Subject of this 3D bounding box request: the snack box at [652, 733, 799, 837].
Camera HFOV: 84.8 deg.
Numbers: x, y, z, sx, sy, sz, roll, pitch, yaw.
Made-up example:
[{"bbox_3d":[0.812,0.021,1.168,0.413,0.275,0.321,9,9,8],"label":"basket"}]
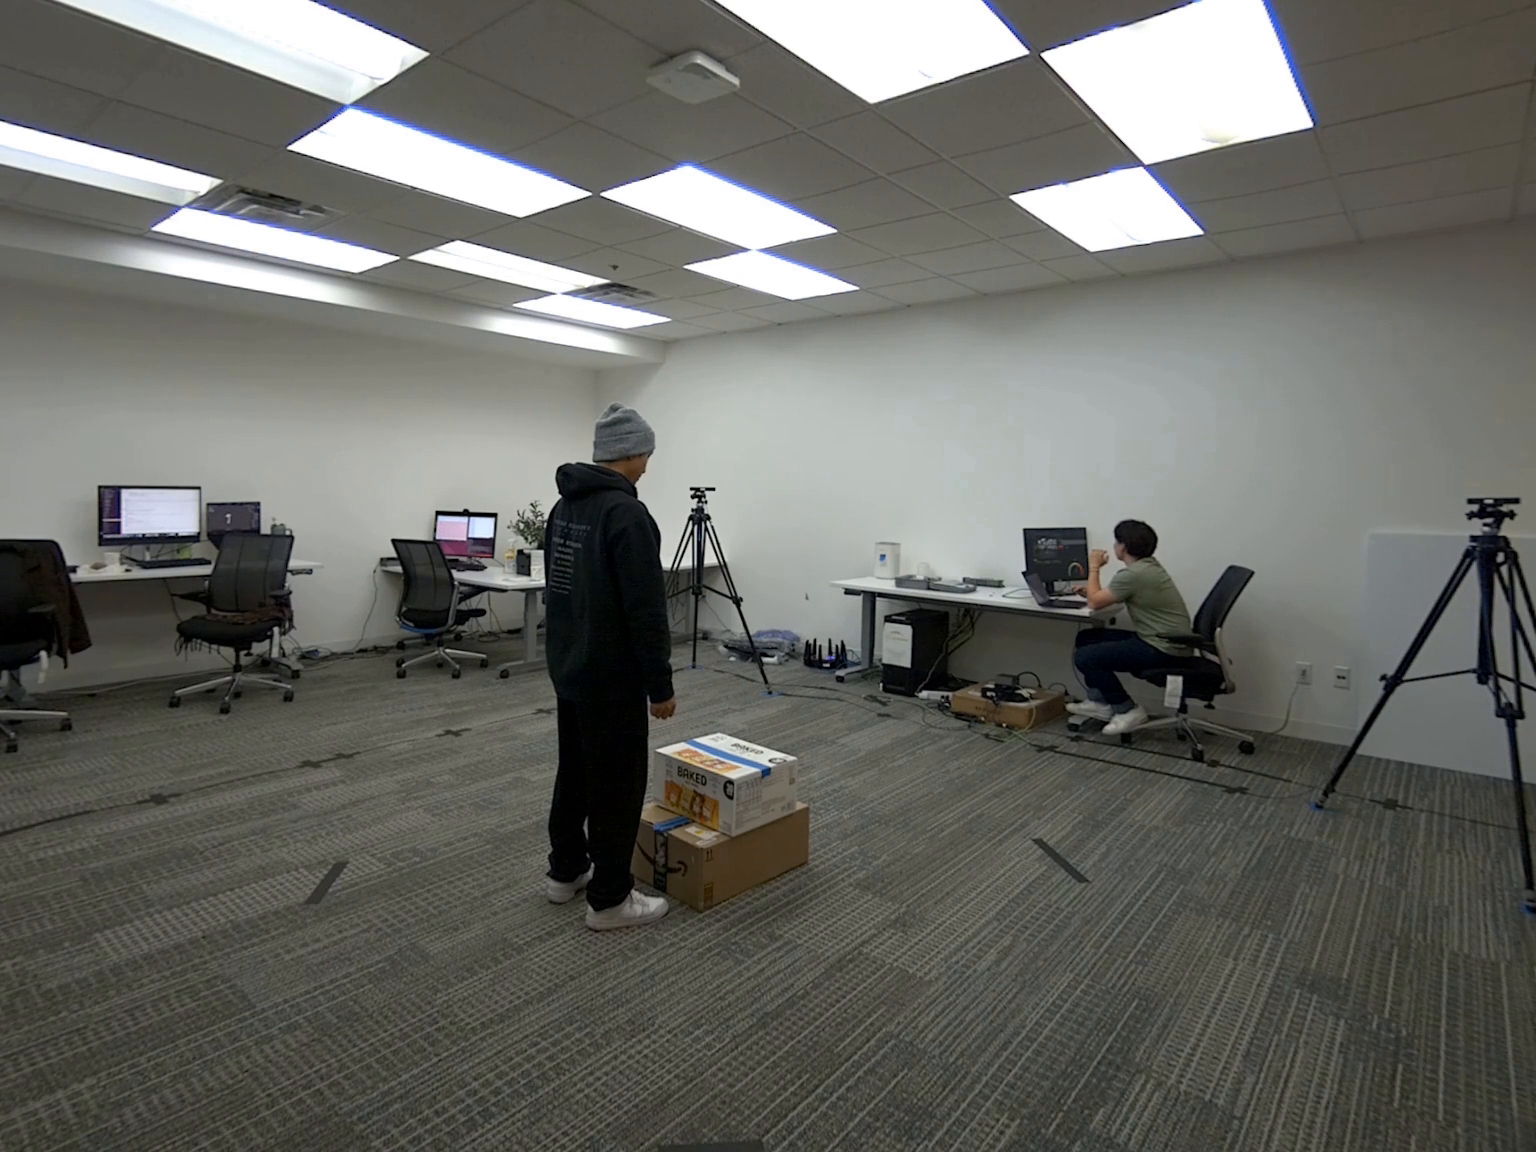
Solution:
[{"bbox_3d":[-0.167,0.748,3.106,0.419,0.205,0.330,7,8,42],"label":"snack box"}]
